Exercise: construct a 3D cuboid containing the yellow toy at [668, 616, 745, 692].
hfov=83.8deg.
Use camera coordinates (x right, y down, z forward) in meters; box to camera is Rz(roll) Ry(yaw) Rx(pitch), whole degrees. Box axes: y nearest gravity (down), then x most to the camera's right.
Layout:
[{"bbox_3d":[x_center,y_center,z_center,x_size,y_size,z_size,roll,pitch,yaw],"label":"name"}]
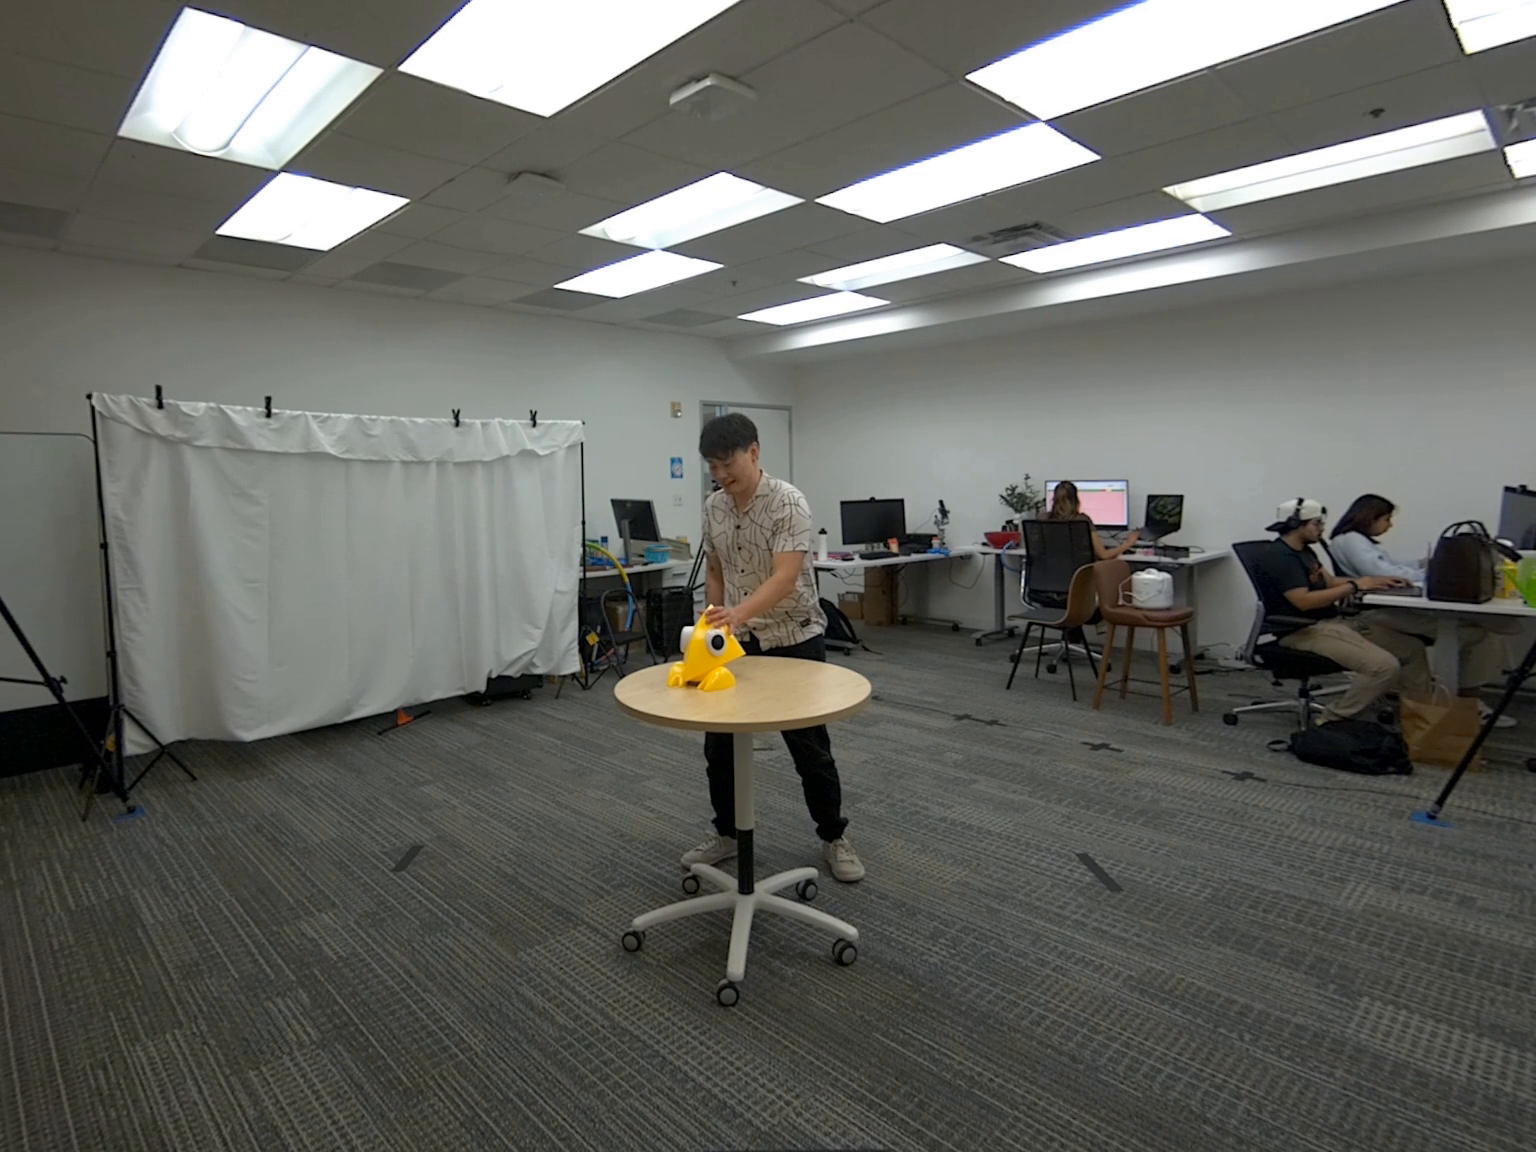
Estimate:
[{"bbox_3d":[-0.203,0.214,2.599,0.210,0.230,0.189,1,6,29],"label":"yellow toy"}]
